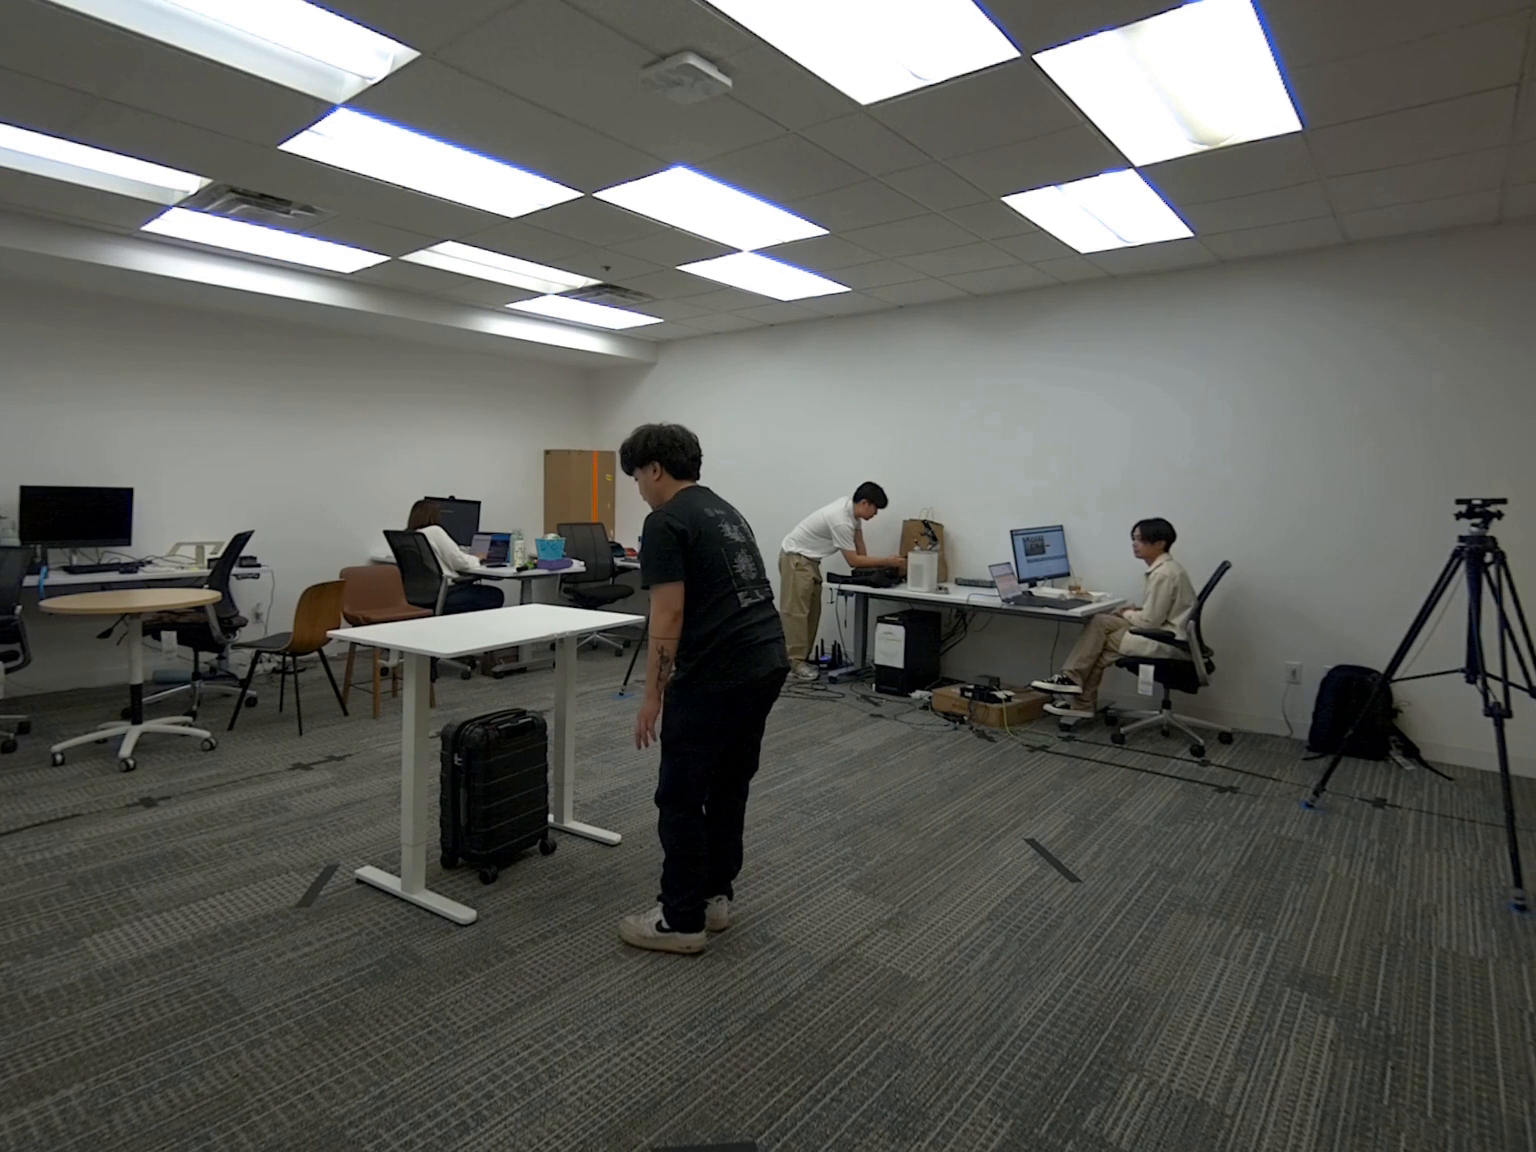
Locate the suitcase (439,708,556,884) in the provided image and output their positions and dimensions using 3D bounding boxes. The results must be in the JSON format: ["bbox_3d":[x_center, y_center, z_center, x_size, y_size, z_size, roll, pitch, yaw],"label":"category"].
[{"bbox_3d":[-1.027,0.786,3.157,0.255,0.549,0.365,-1,1,31],"label":"suitcase"}]
